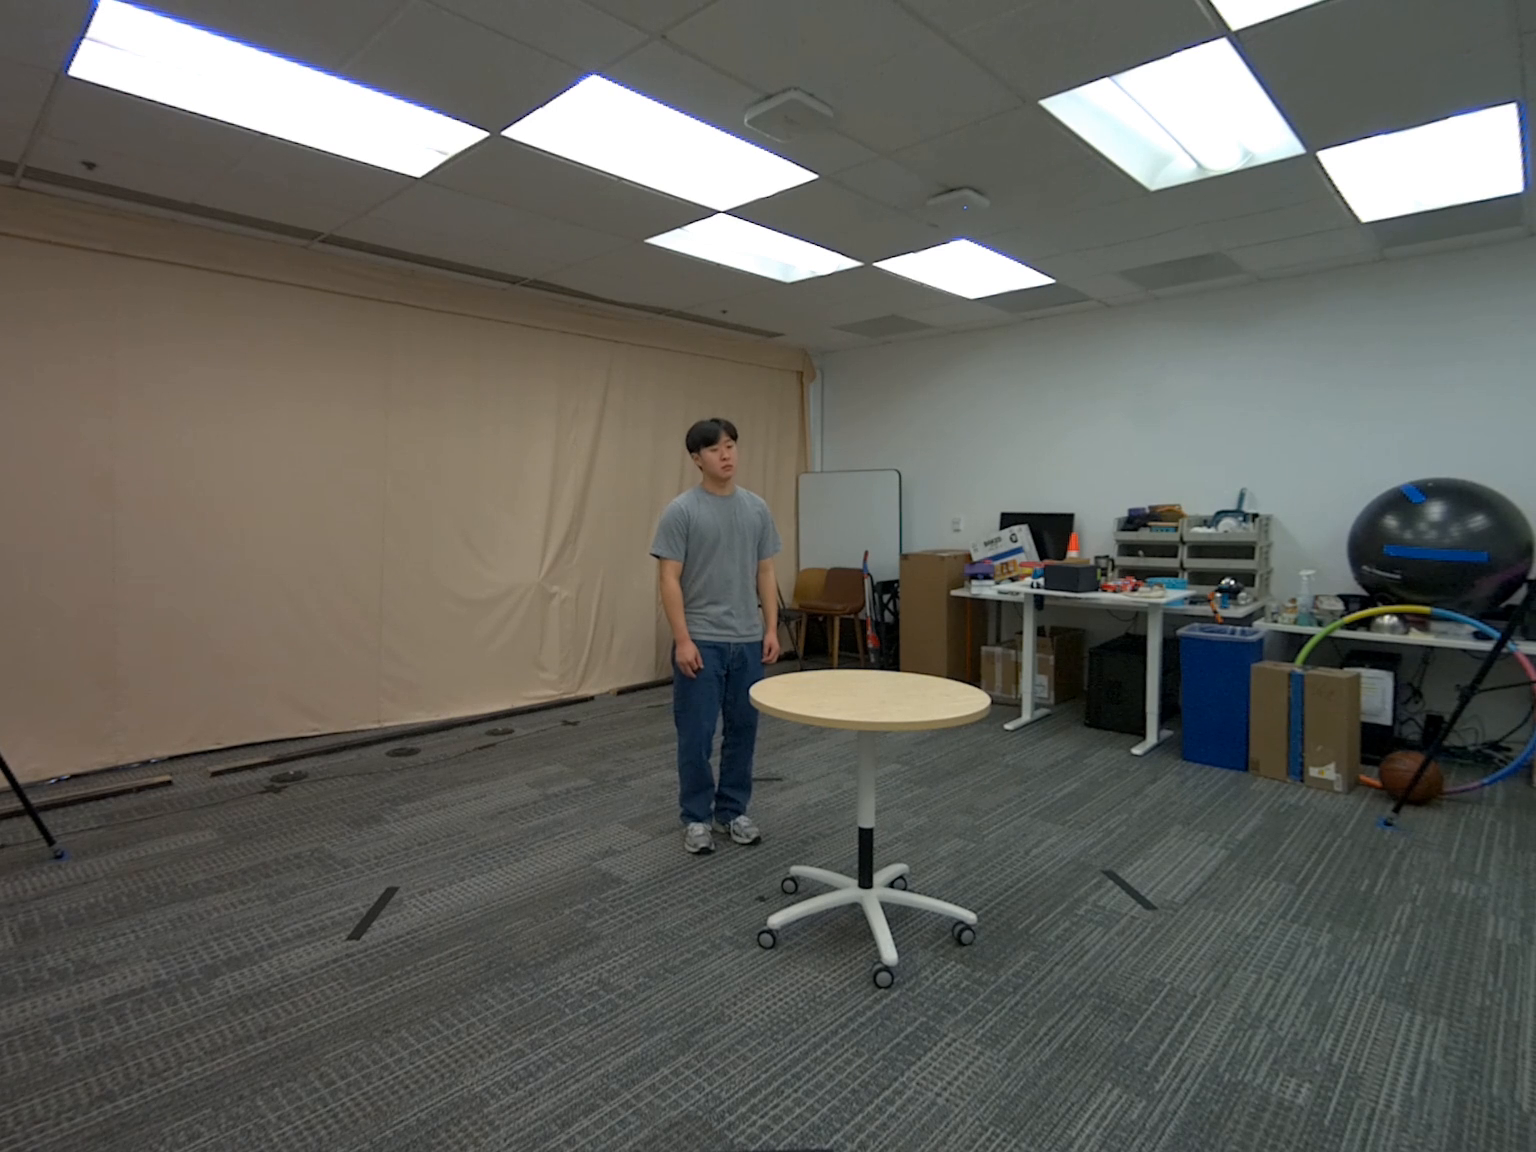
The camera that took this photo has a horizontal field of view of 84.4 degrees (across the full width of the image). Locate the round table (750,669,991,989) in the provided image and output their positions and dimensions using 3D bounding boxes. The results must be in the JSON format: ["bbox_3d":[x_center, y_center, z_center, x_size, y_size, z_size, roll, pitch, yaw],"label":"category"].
[{"bbox_3d":[0.327,0.772,2.757,0.763,0.792,0.767,0,4,-2],"label":"round table"}]
